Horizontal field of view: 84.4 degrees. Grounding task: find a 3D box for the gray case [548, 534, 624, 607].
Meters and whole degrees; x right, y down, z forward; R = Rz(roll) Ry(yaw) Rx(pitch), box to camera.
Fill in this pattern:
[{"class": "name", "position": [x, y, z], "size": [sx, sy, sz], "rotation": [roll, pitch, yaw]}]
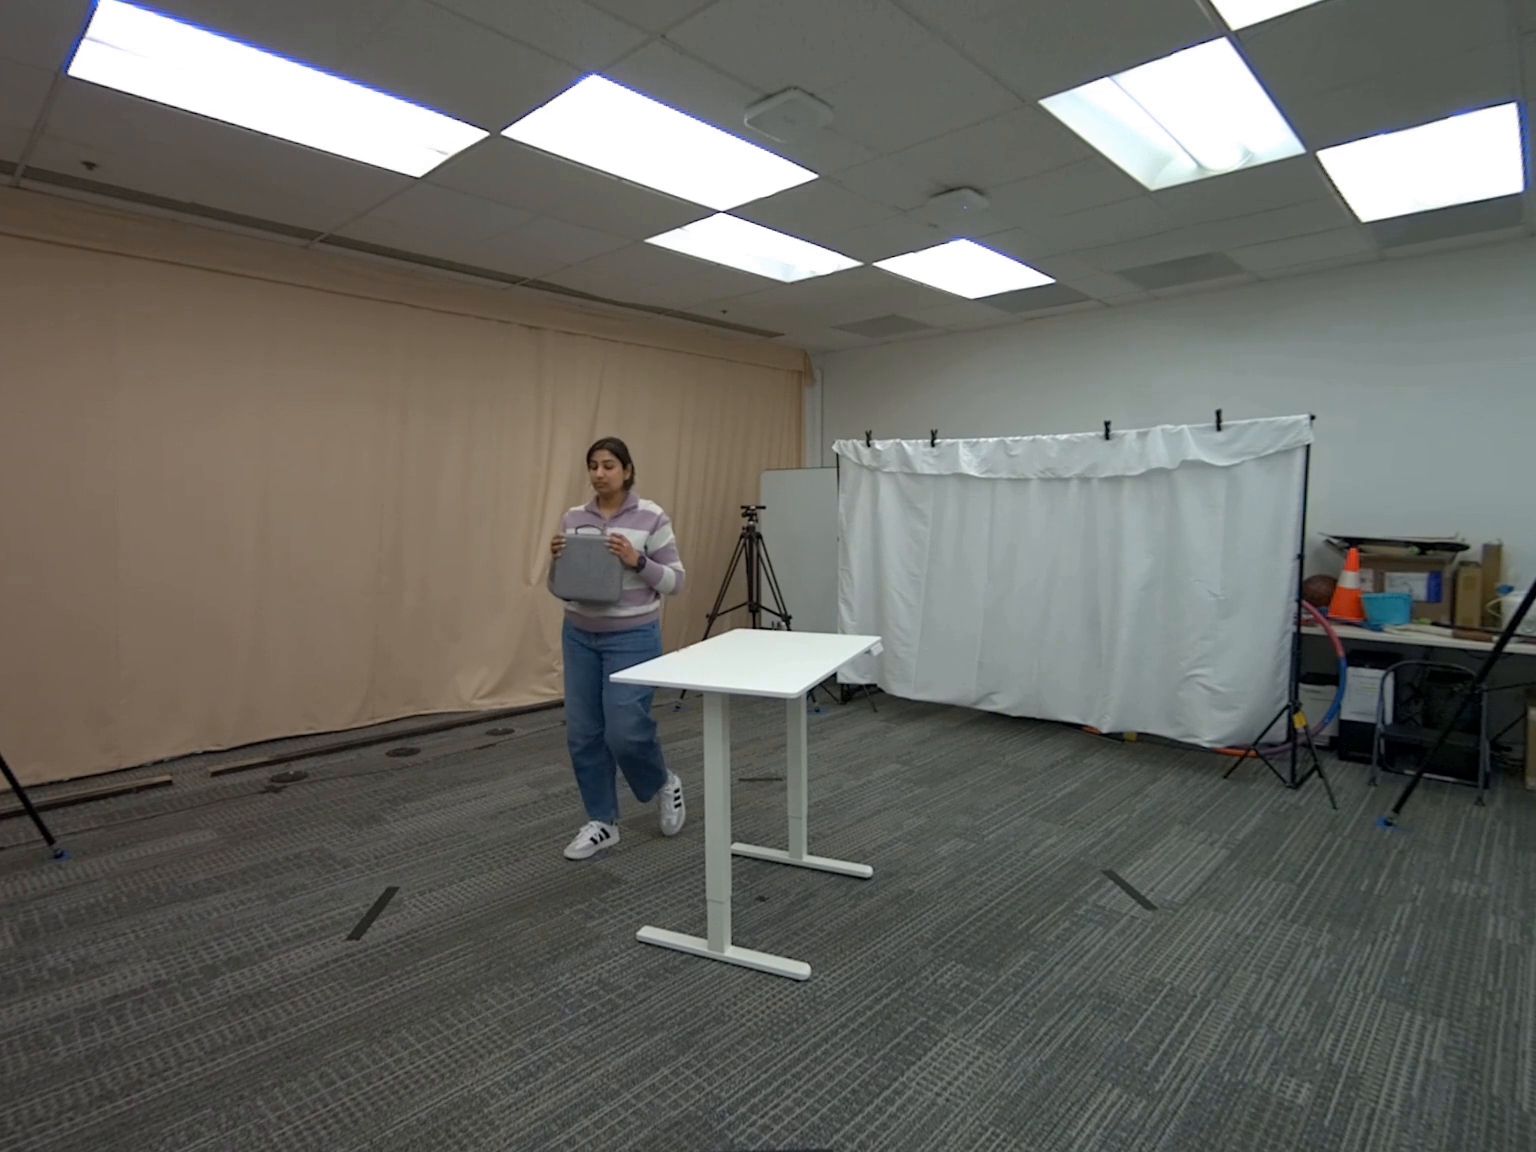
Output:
[{"class": "gray case", "position": [-0.673, -0.029, 3.229], "size": [0.260, 0.260, 0.103], "rotation": [4, 1, 9]}]
